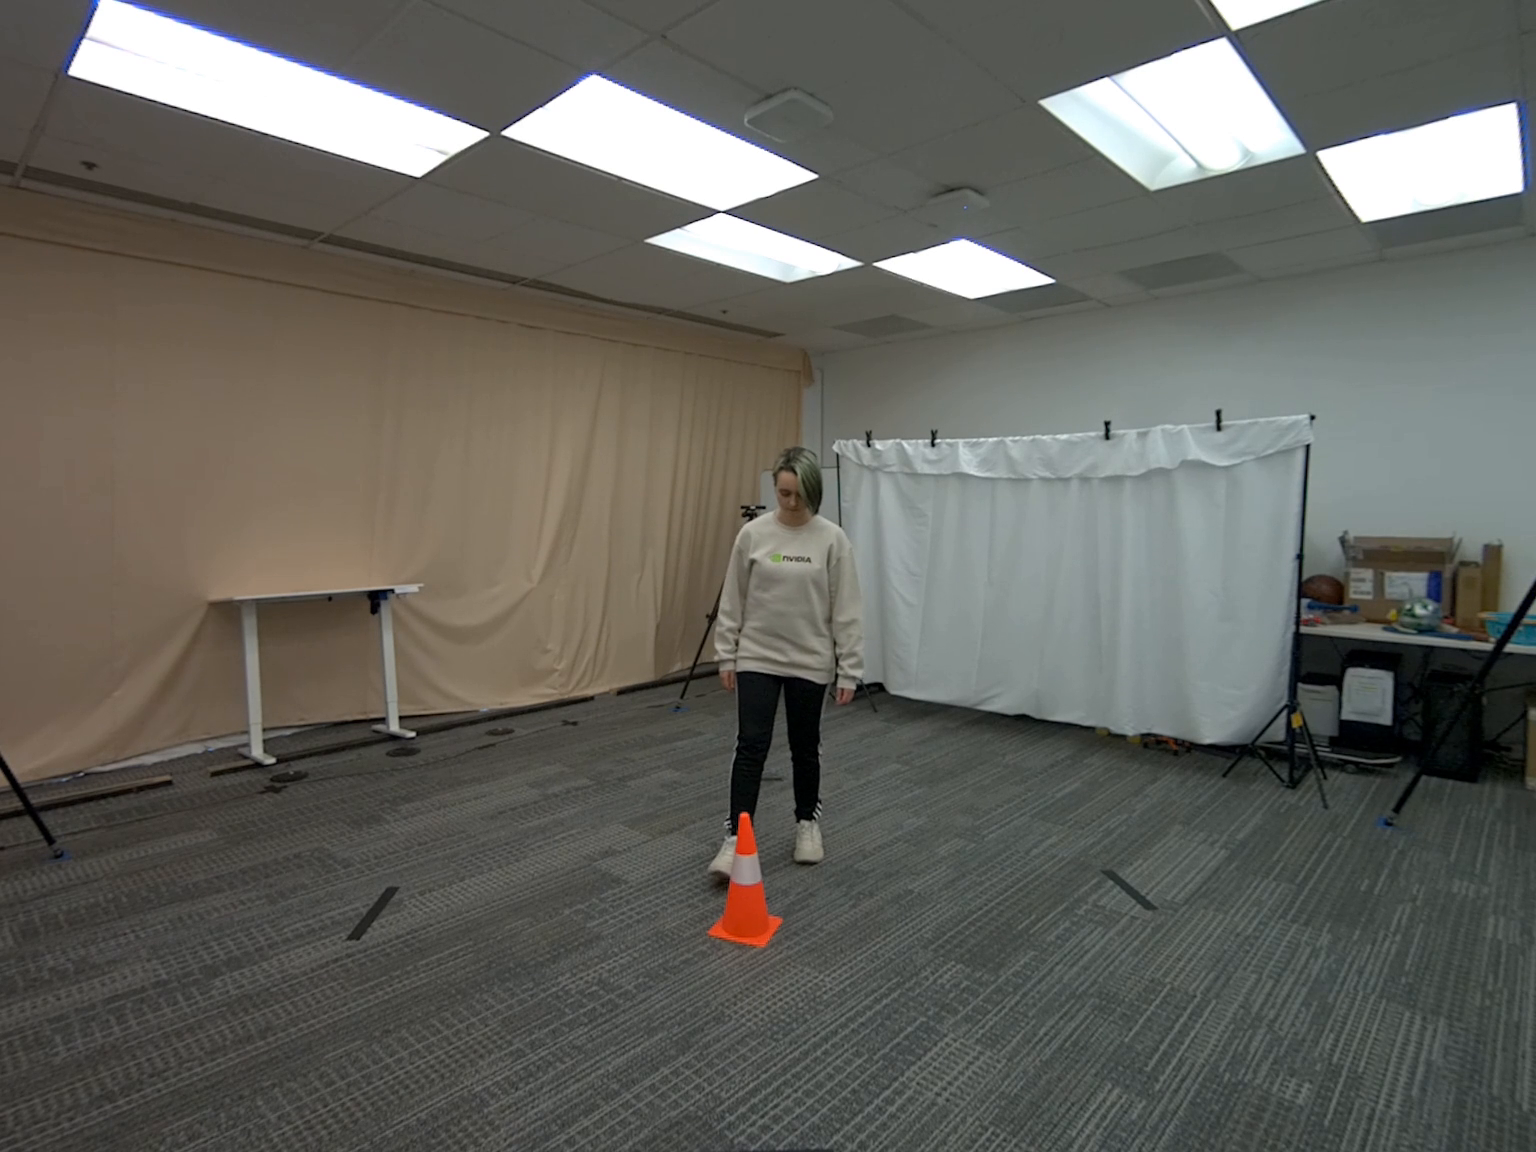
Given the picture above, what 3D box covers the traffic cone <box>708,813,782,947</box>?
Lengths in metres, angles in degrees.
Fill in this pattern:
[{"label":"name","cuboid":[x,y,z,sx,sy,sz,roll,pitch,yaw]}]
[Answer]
[{"label":"traffic cone","cuboid":[-0.076,0.974,2.775,0.209,0.383,0.199,0,3,21]}]
